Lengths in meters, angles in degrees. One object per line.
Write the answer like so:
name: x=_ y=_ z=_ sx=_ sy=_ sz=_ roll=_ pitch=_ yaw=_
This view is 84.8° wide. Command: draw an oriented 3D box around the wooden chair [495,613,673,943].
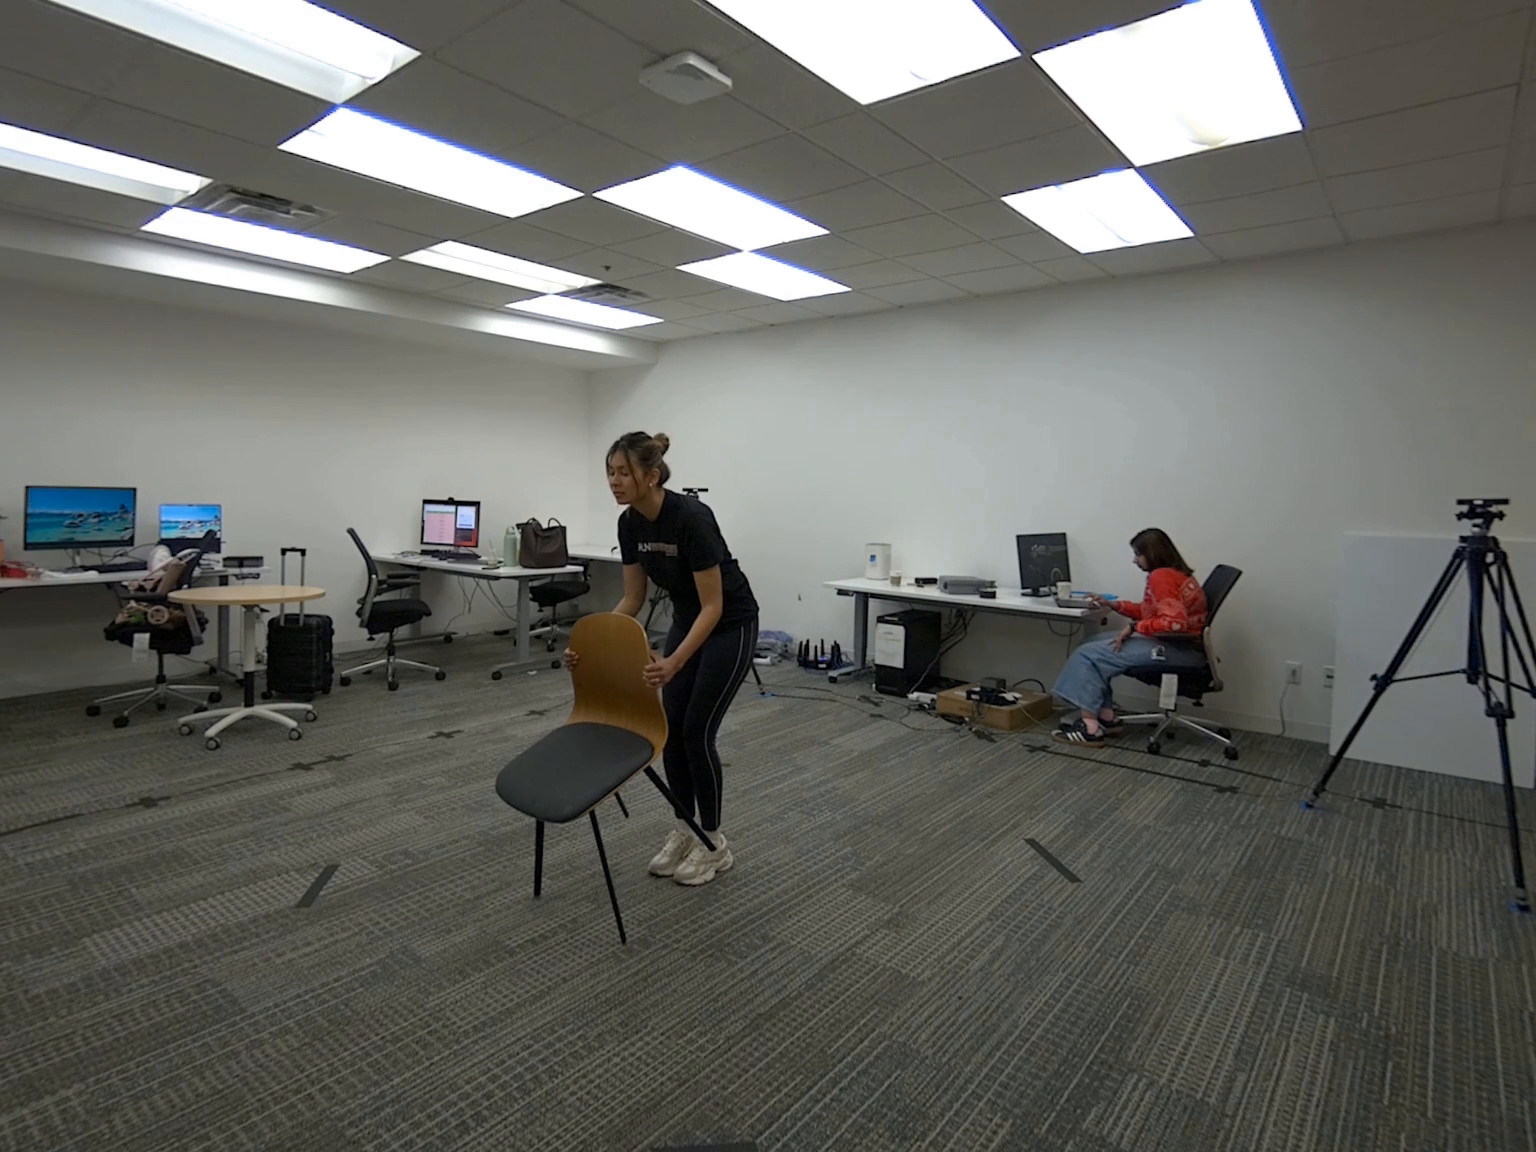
wooden chair: x=-0.587 y=0.624 z=2.743 sx=0.494 sy=0.862 sz=0.515 roll=4 pitch=21 yaw=39
